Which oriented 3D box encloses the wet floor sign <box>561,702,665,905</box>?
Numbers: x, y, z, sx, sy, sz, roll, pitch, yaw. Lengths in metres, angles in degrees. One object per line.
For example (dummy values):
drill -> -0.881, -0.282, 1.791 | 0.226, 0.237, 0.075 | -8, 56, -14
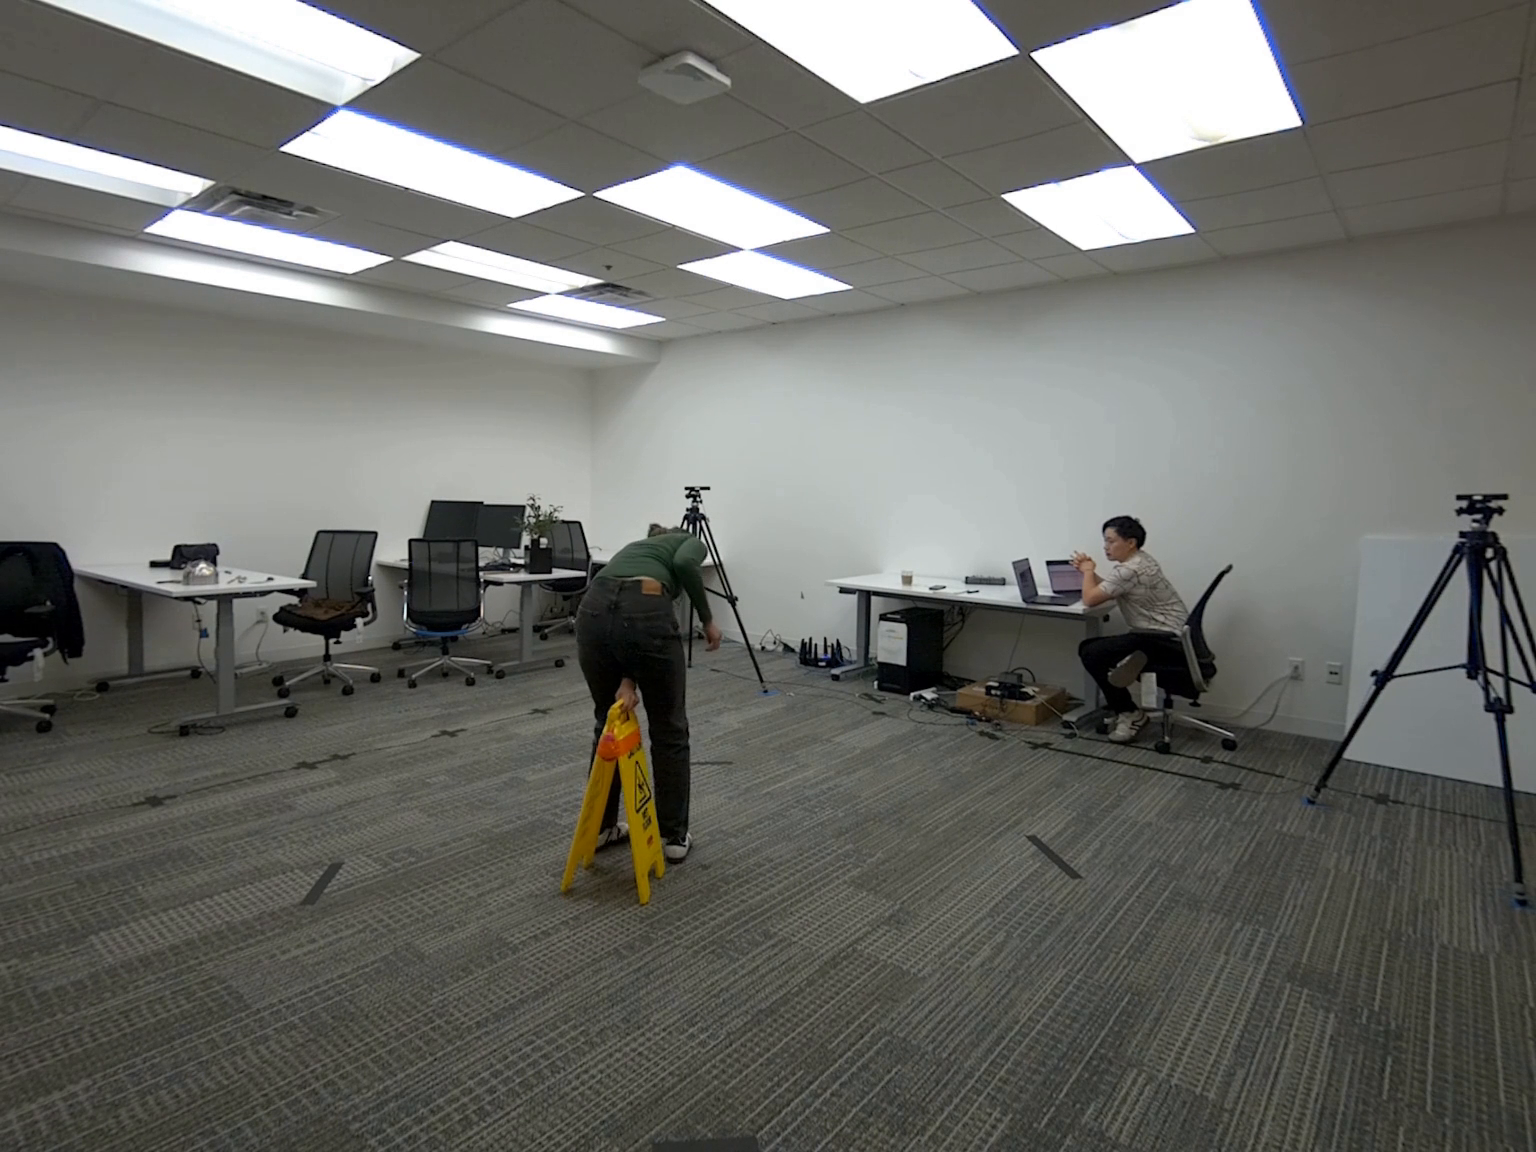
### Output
wet floor sign -> -0.529, 0.745, 2.960 | 0.293, 0.645, 0.279 | 3, 2, 9
